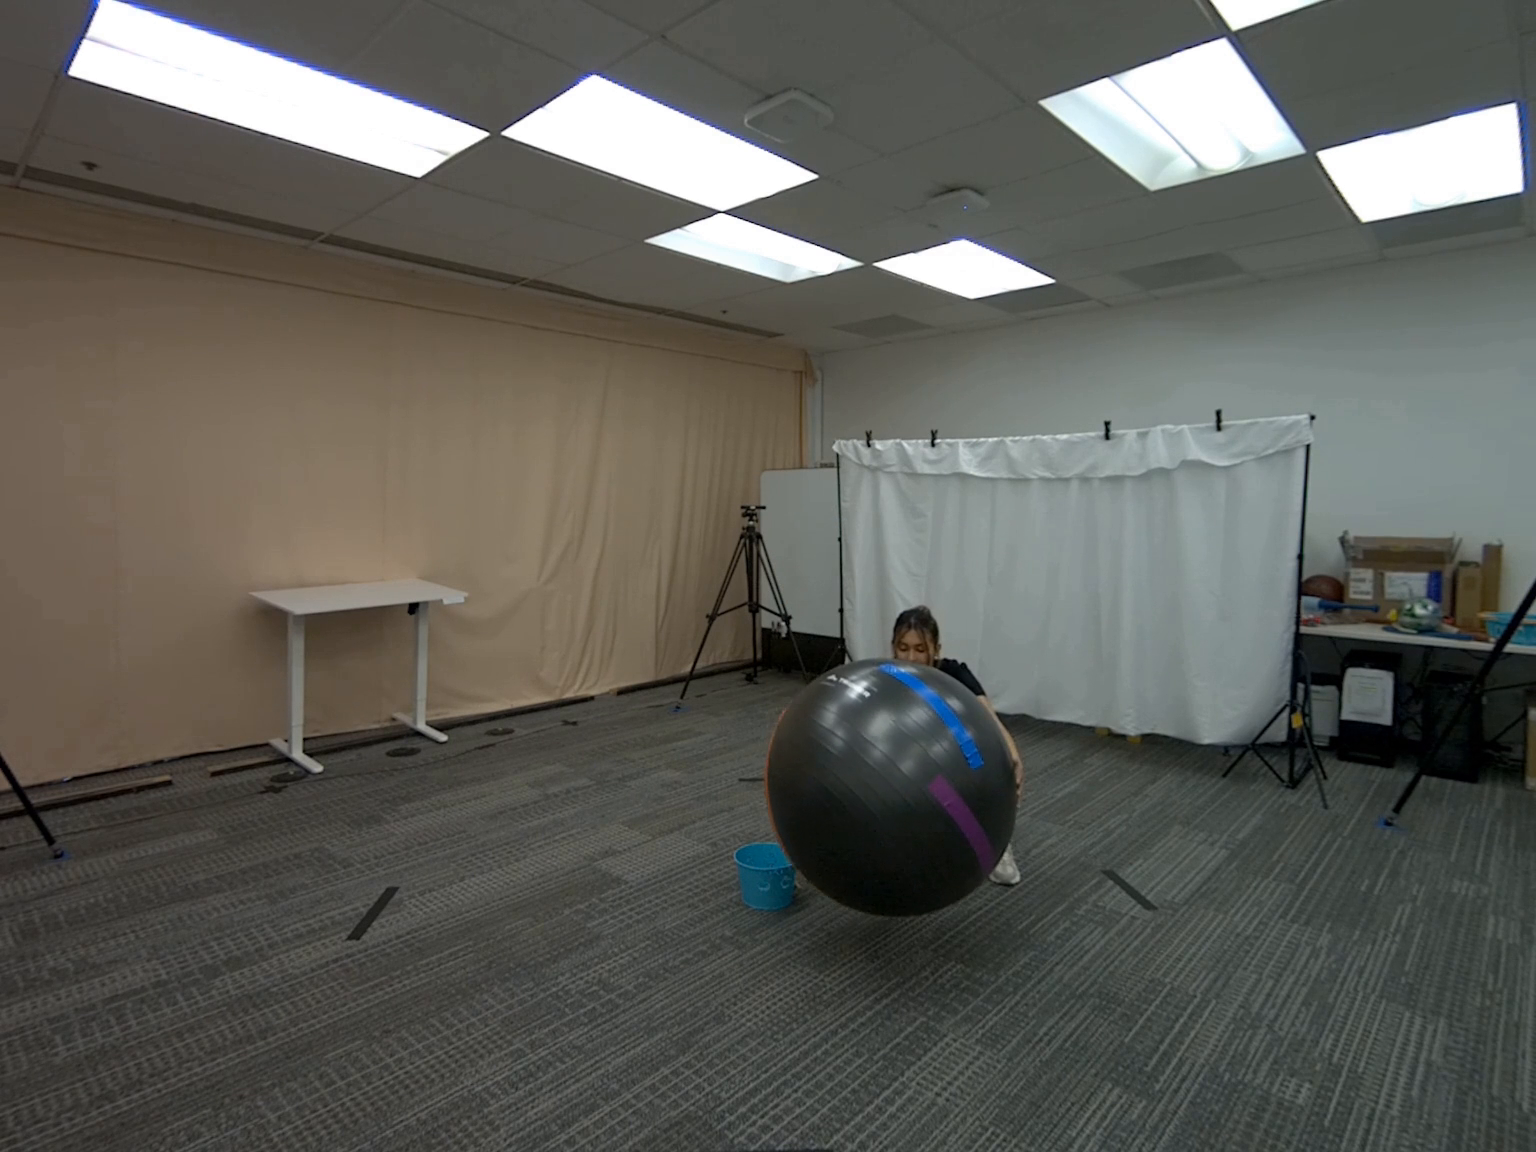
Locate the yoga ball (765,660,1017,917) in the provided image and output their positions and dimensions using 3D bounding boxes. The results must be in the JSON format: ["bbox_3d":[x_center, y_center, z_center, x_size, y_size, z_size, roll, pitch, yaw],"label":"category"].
[{"bbox_3d":[0.367,0.636,2.576,0.757,0.756,0.760,0,4,-2],"label":"yoga ball"}]
